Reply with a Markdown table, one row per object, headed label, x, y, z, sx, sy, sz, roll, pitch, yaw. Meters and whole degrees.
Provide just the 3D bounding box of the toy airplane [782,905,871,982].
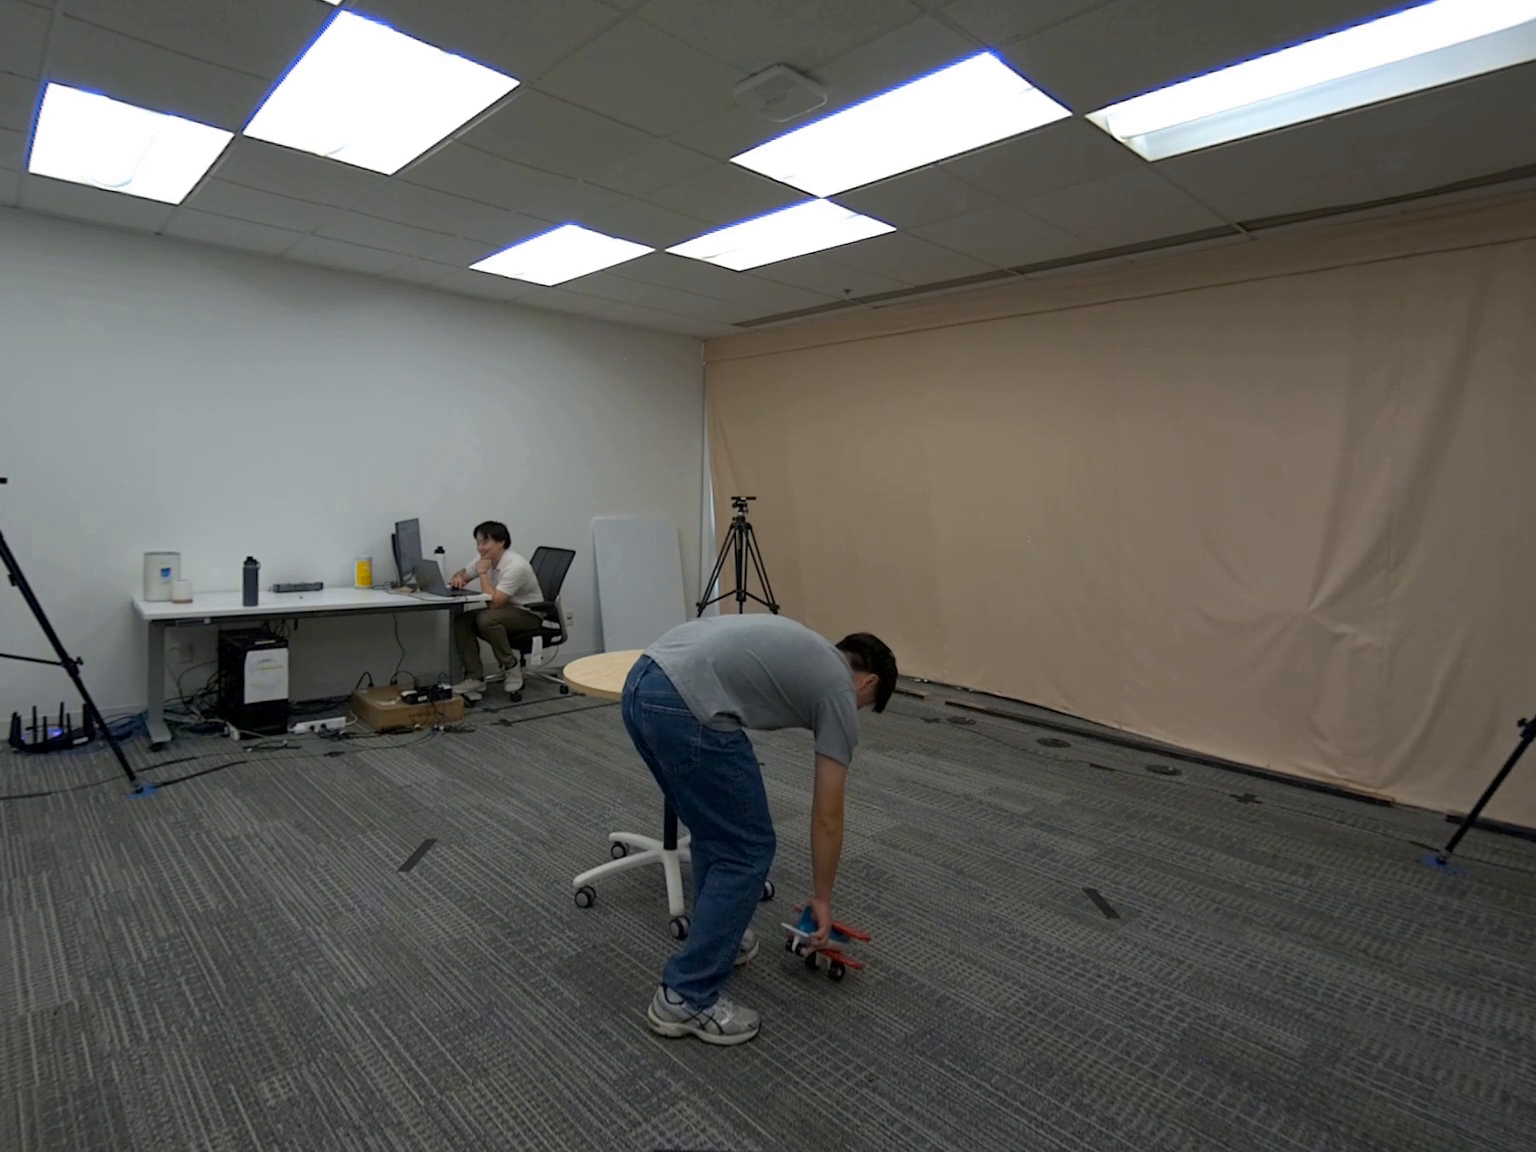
| label | x | y | z | sx | sy | sz | roll | pitch | yaw |
| --- | --- | --- | --- | --- | --- | --- | --- | --- | --- |
| toy airplane | 0.162 | 1.064 | 2.433 | 0.256 | 0.157 | 0.253 | 22 | -27 | 18 |
